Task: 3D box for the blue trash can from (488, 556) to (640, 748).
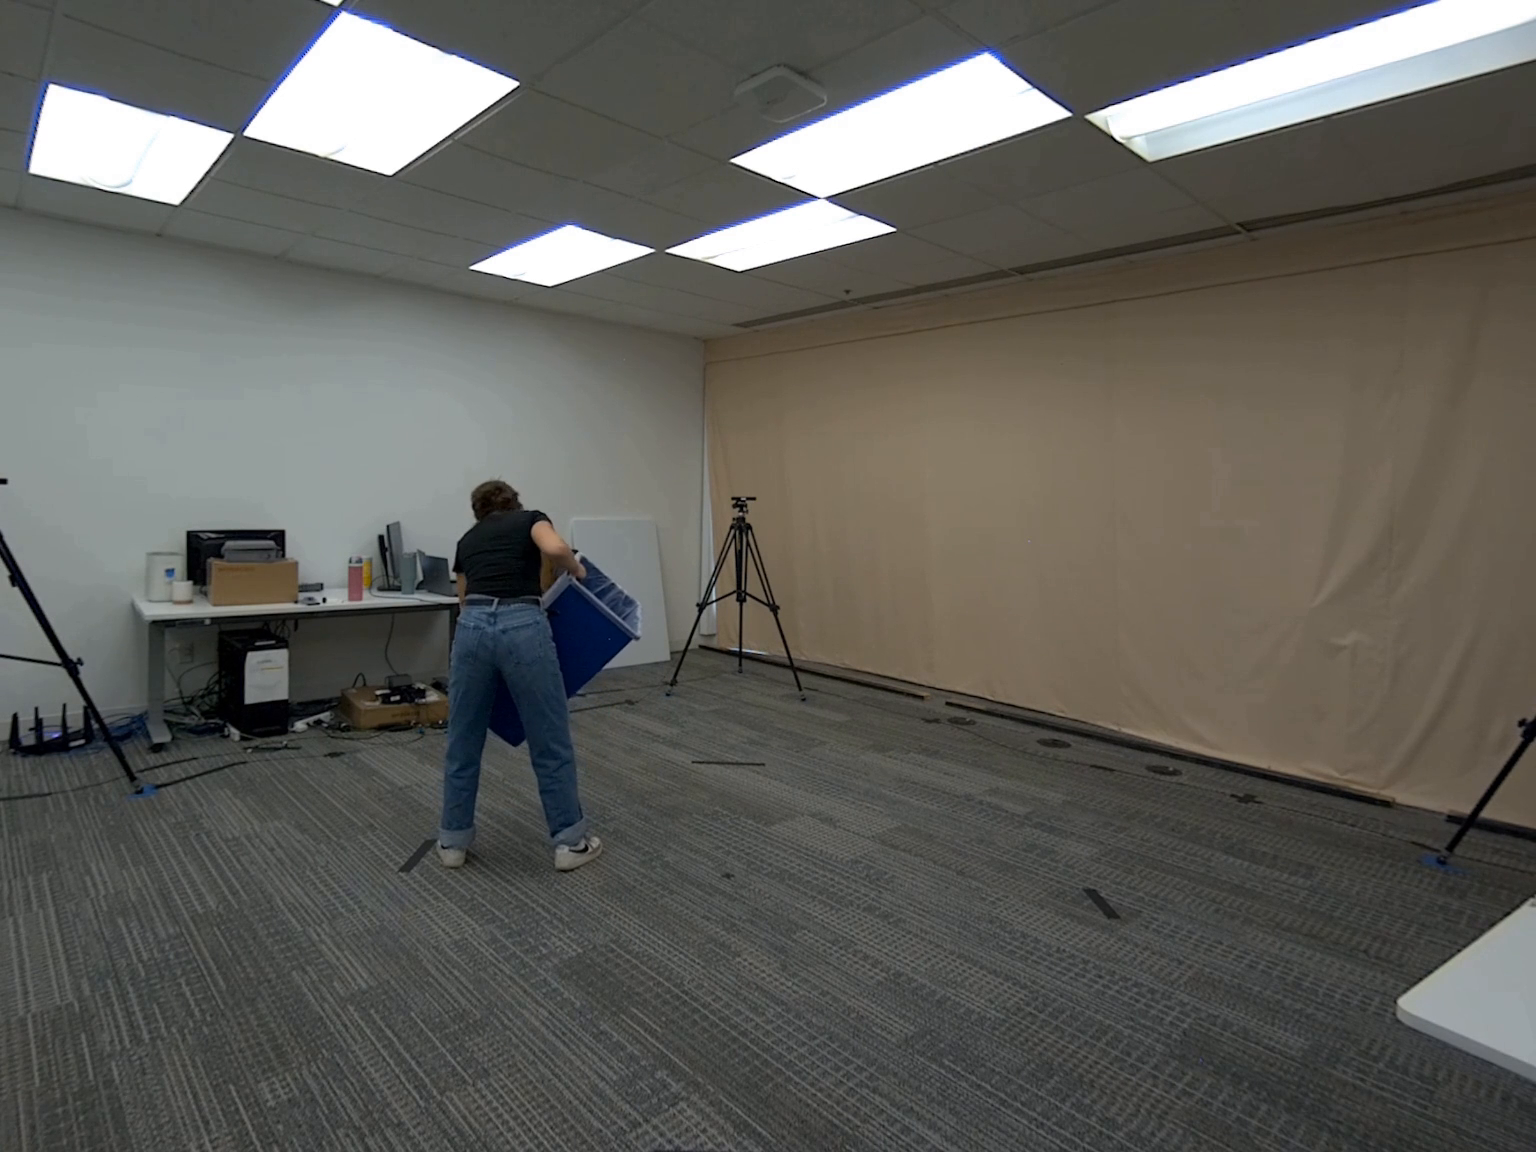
[{"bbox_3d":[-0.899,0.323,3.481,0.367,0.713,0.385,42,9,-17],"label":"blue trash can"}]
